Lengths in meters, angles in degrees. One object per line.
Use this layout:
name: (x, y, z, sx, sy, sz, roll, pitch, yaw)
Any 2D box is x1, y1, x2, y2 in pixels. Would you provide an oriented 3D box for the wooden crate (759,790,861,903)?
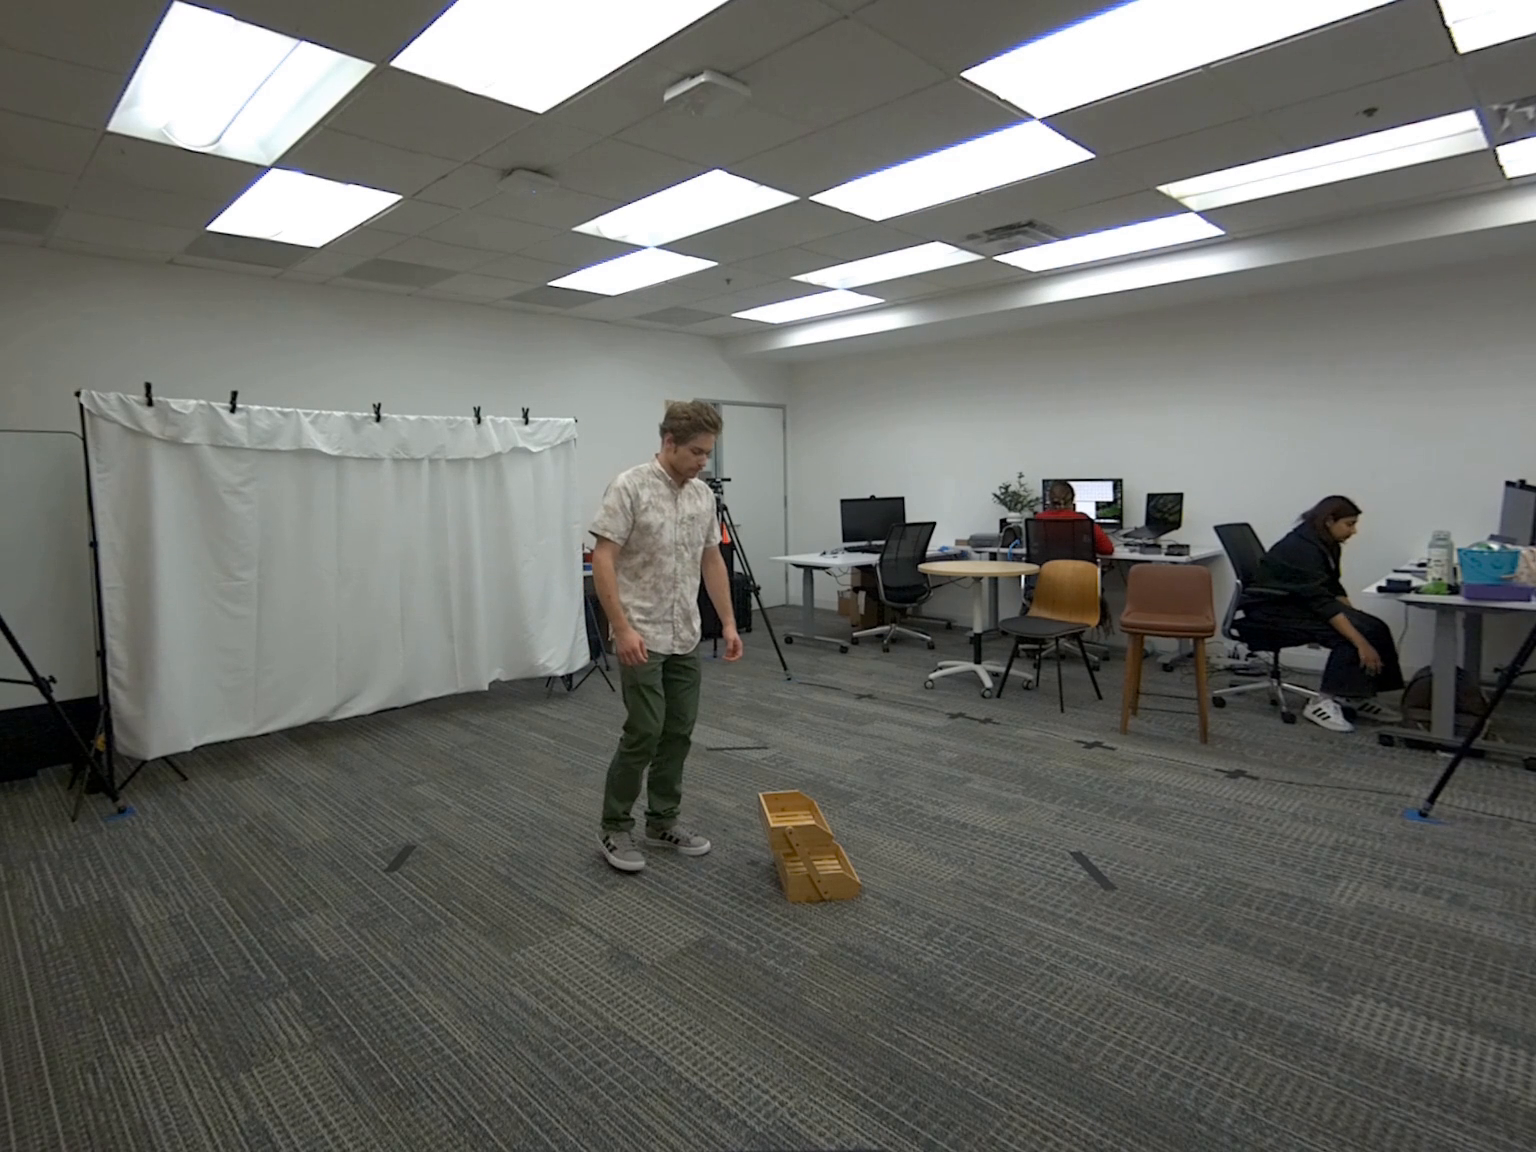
wooden crate: (0.148, 0.922, 2.956, 0.300, 0.272, 0.328, -1, 5, -7)
